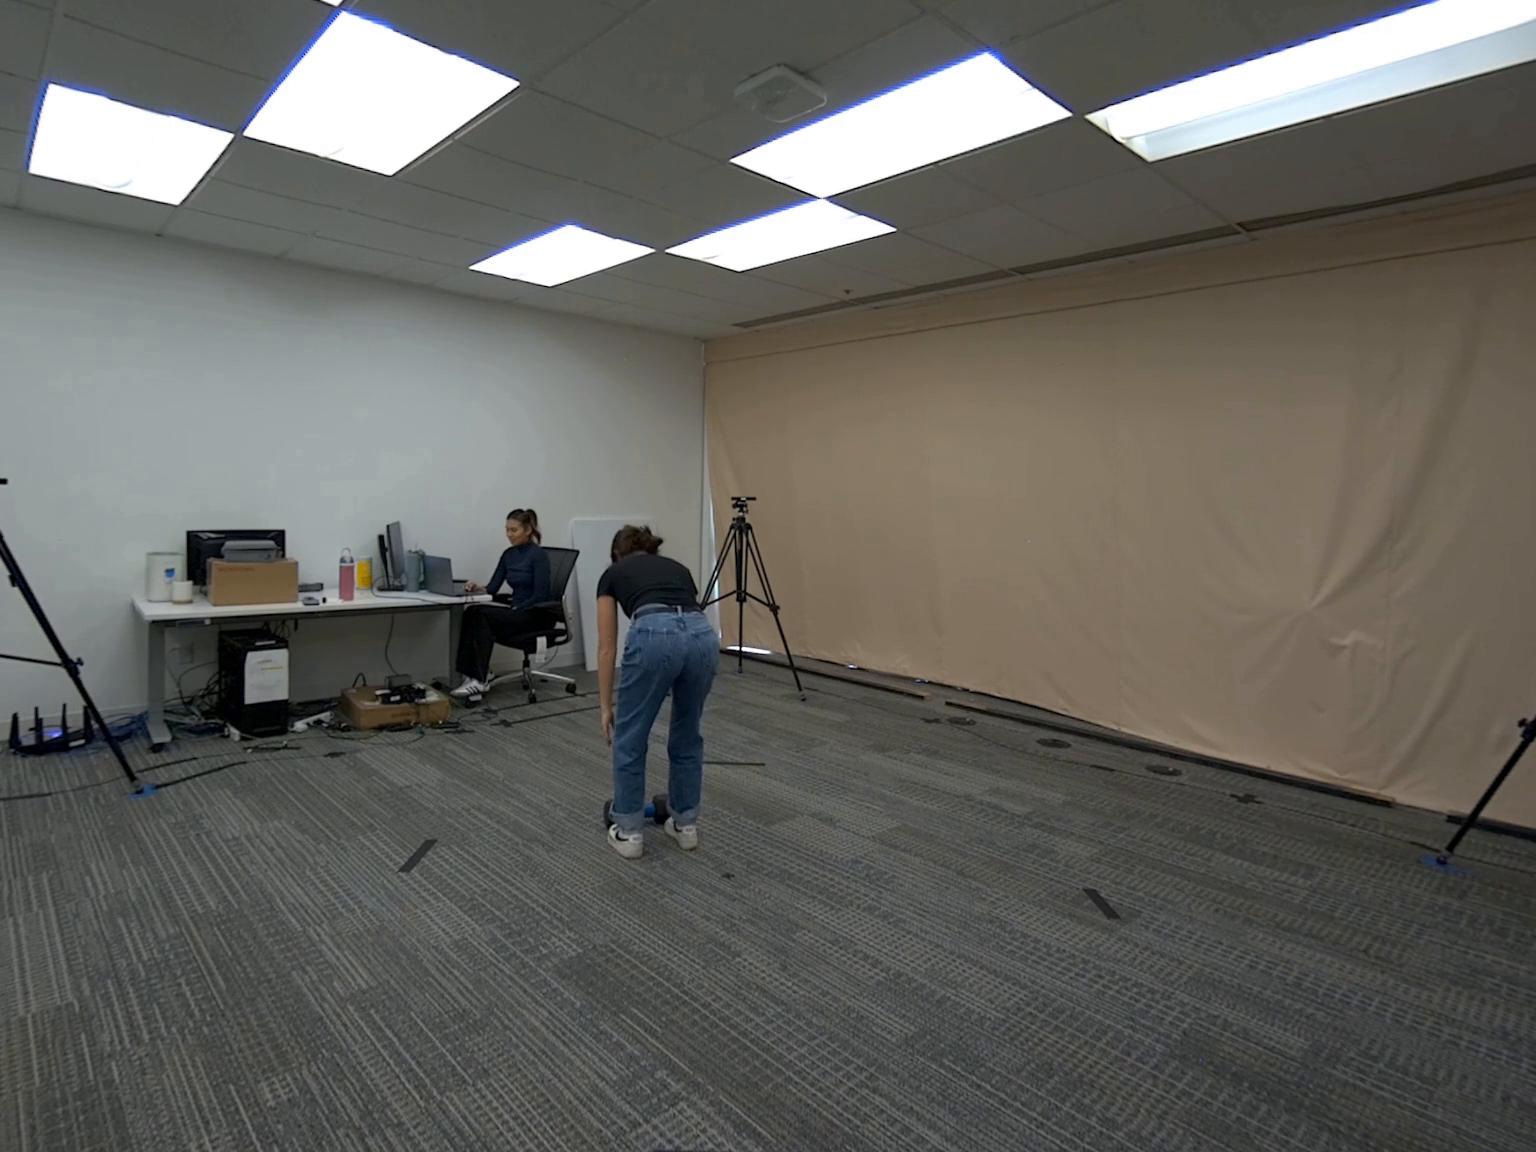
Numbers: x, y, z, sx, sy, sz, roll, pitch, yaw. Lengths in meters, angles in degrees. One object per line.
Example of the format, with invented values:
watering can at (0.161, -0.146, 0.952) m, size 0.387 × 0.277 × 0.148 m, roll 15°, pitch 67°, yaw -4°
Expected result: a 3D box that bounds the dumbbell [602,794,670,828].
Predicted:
dumbbell at (-0.558, 1.005, 3.584) m, size 0.288 × 0.125 × 0.108 m, roll 0°, pitch -25°, yaw -23°
